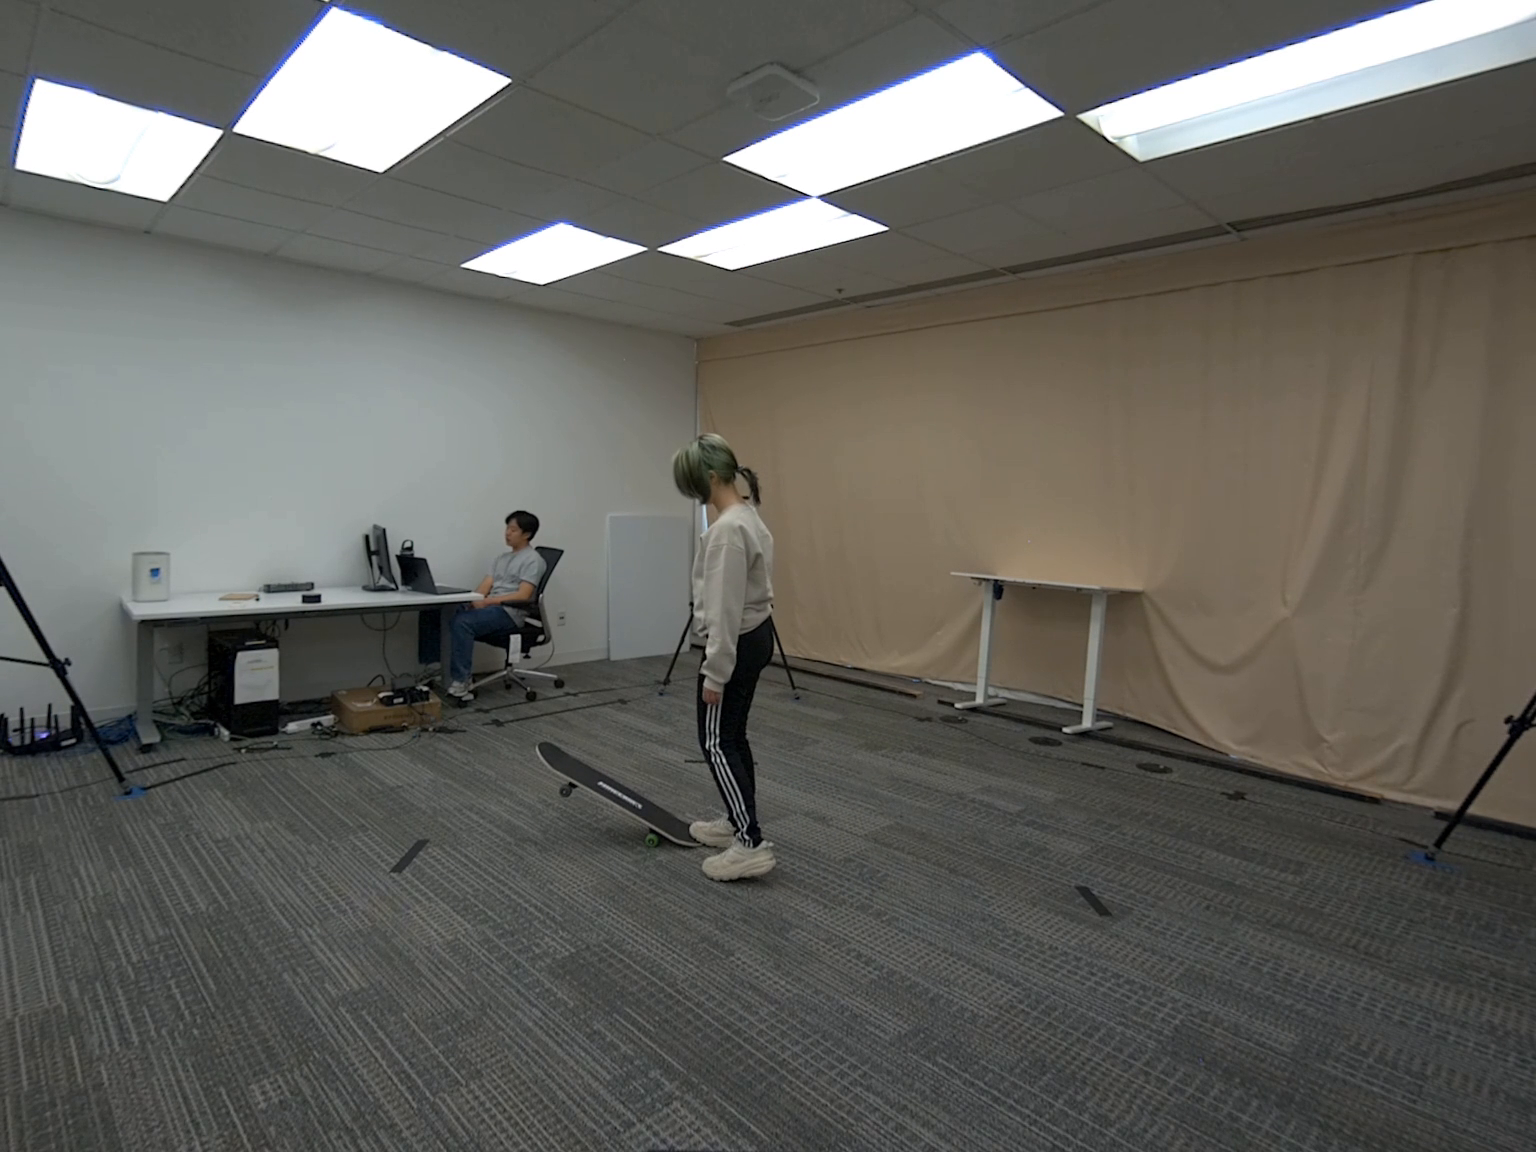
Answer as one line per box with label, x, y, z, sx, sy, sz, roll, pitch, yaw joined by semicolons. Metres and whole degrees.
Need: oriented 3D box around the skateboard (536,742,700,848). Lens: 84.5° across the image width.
skateboard;-0.623;0.922;3.434;0.788;0.110;0.193;29;6;3
